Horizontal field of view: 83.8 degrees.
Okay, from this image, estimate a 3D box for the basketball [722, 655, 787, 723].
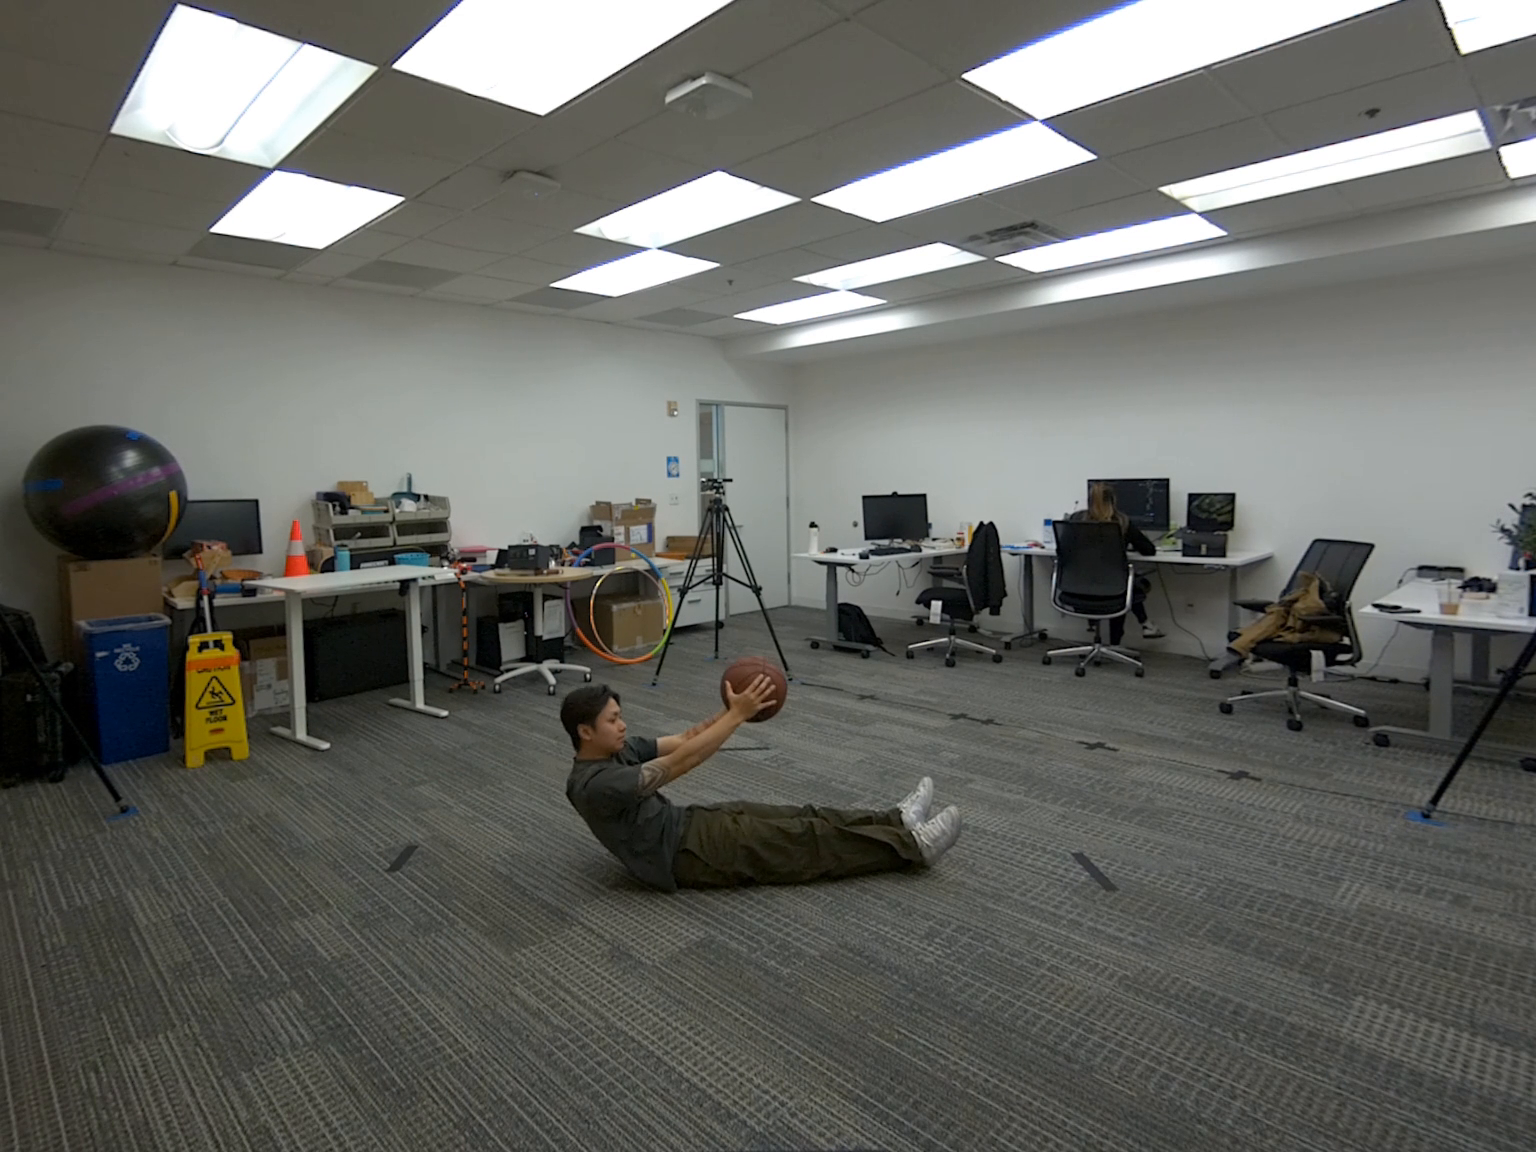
[{"bbox_3d":[-0.058,0.401,3.032,0.236,0.235,0.237,-1,5,-2],"label":"basketball"}]
